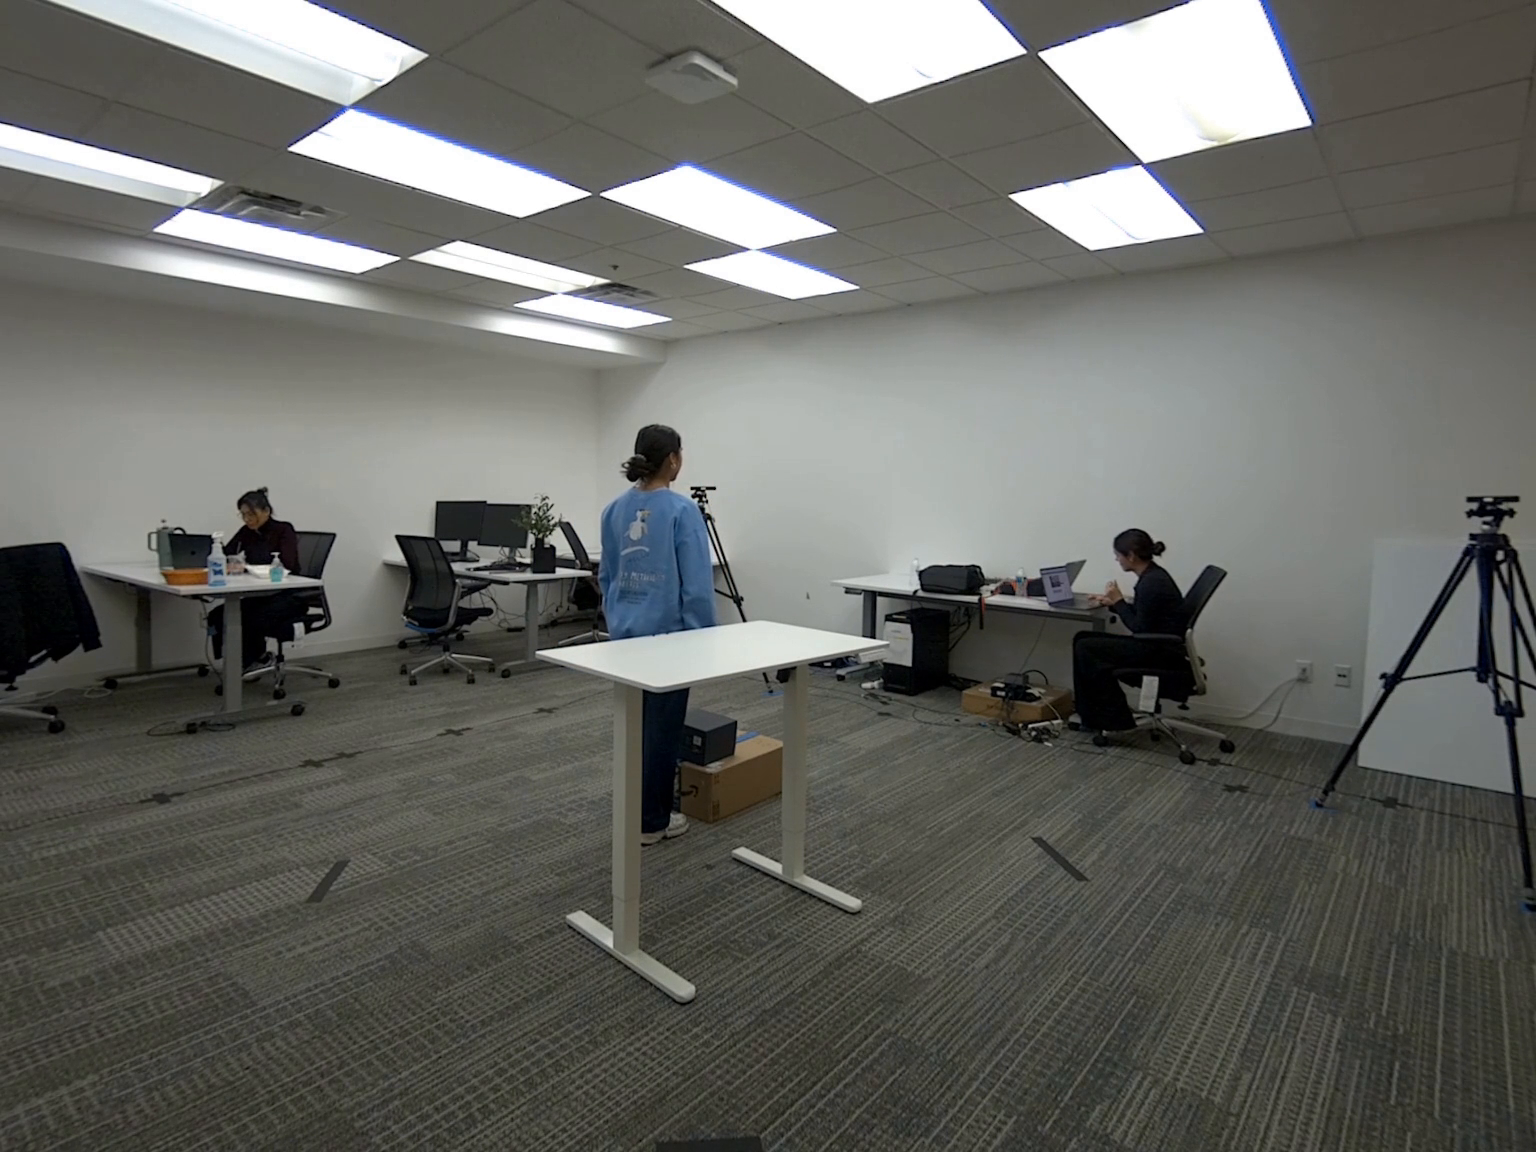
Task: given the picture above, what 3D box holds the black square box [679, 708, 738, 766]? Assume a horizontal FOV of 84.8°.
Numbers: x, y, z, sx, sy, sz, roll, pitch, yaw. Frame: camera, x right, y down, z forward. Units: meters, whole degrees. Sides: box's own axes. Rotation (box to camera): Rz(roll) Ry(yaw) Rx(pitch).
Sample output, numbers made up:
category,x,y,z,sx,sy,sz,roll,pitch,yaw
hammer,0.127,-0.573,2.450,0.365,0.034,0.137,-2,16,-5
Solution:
category,x,y,z,sx,sy,sz,roll,pitch,yaw
black square box,-0.300,0.694,3.720,0.224,0.155,0.221,9,8,35
